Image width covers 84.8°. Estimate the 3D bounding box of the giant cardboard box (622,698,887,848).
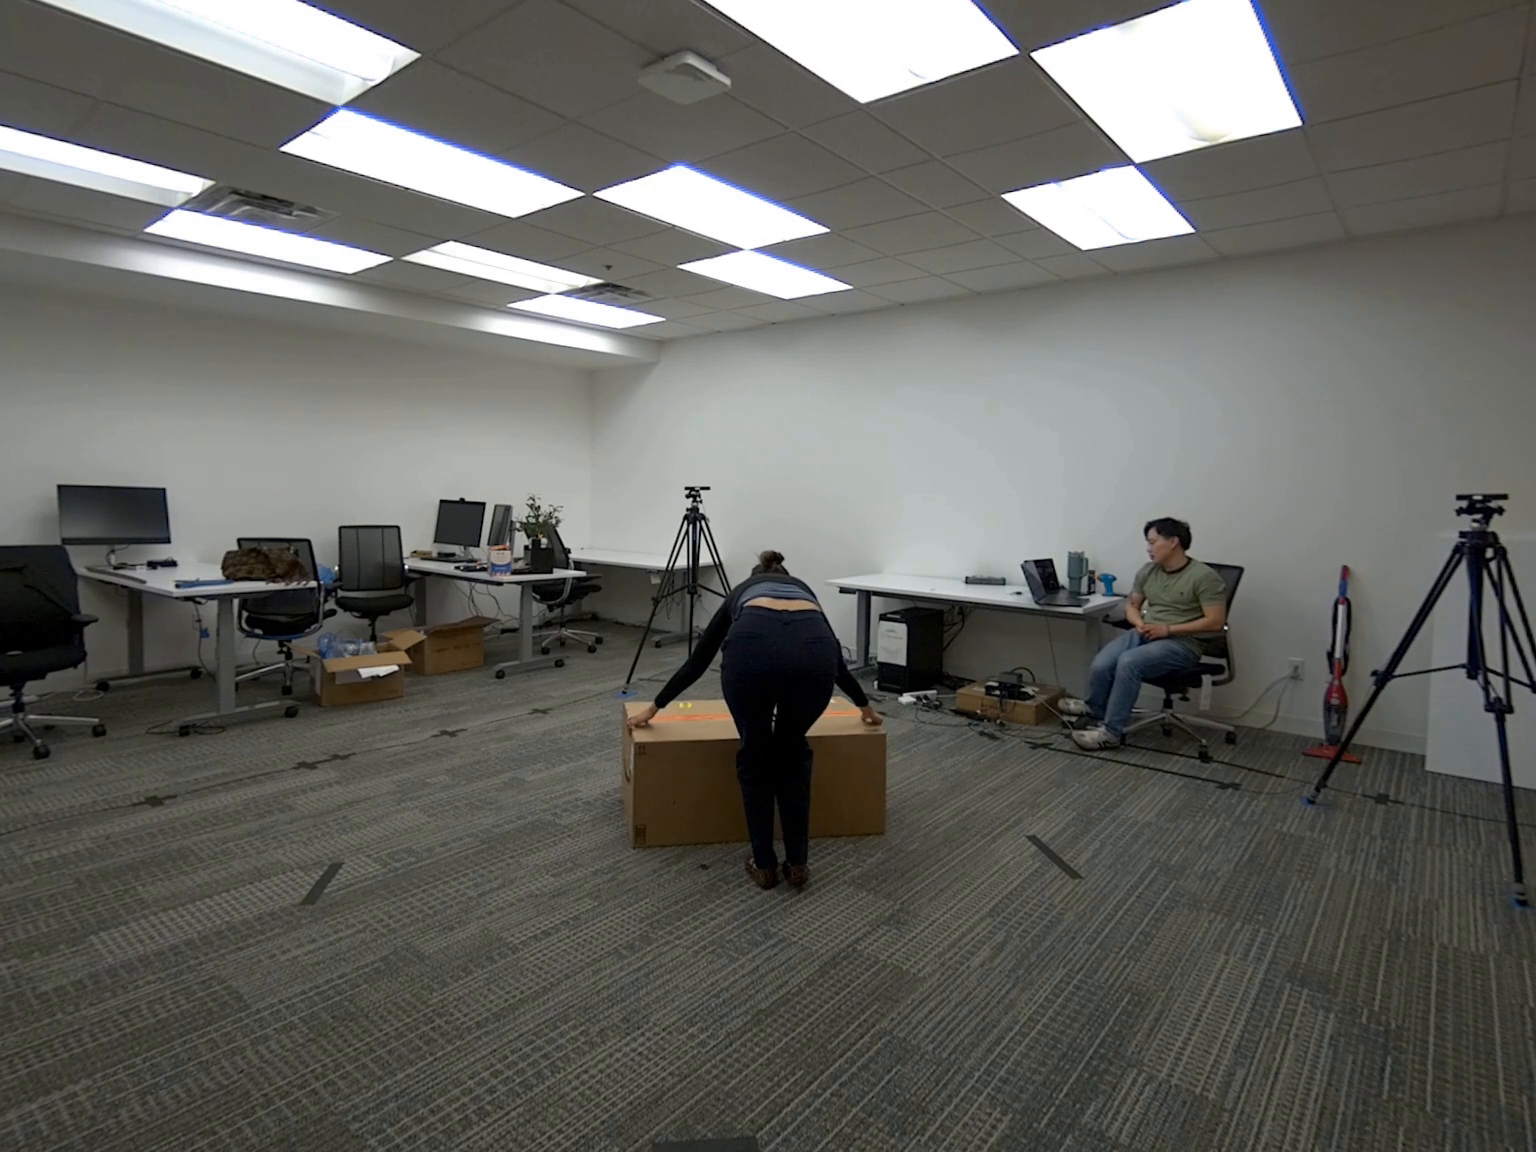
[{"bbox_3d":[-0.095,0.797,3.620,1.014,0.424,0.587,0,5,-11],"label":"giant cardboard box"}]
